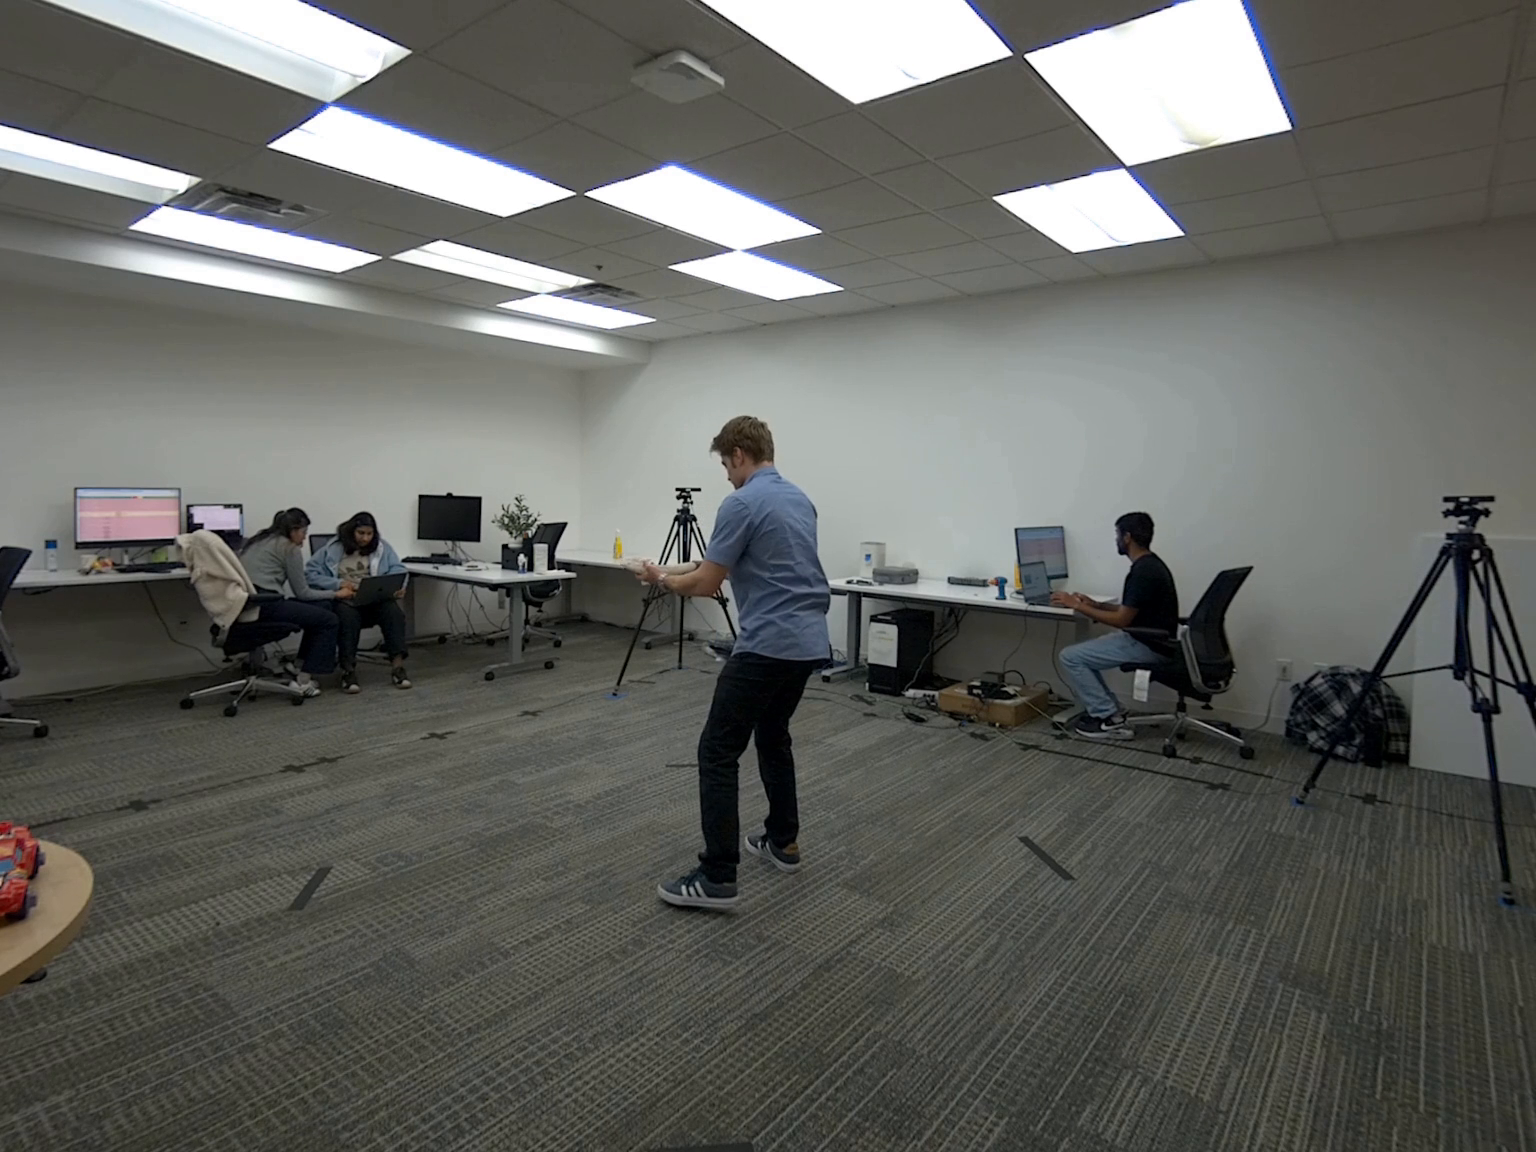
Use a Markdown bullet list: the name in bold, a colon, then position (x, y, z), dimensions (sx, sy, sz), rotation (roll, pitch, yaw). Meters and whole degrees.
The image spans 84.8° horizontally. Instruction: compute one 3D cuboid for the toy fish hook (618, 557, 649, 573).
- **toy fish hook**: position (-0.369, -0.040, 3.349), dimensions (0.232, 0.048, 0.493), rotation (21, 15, 29)
